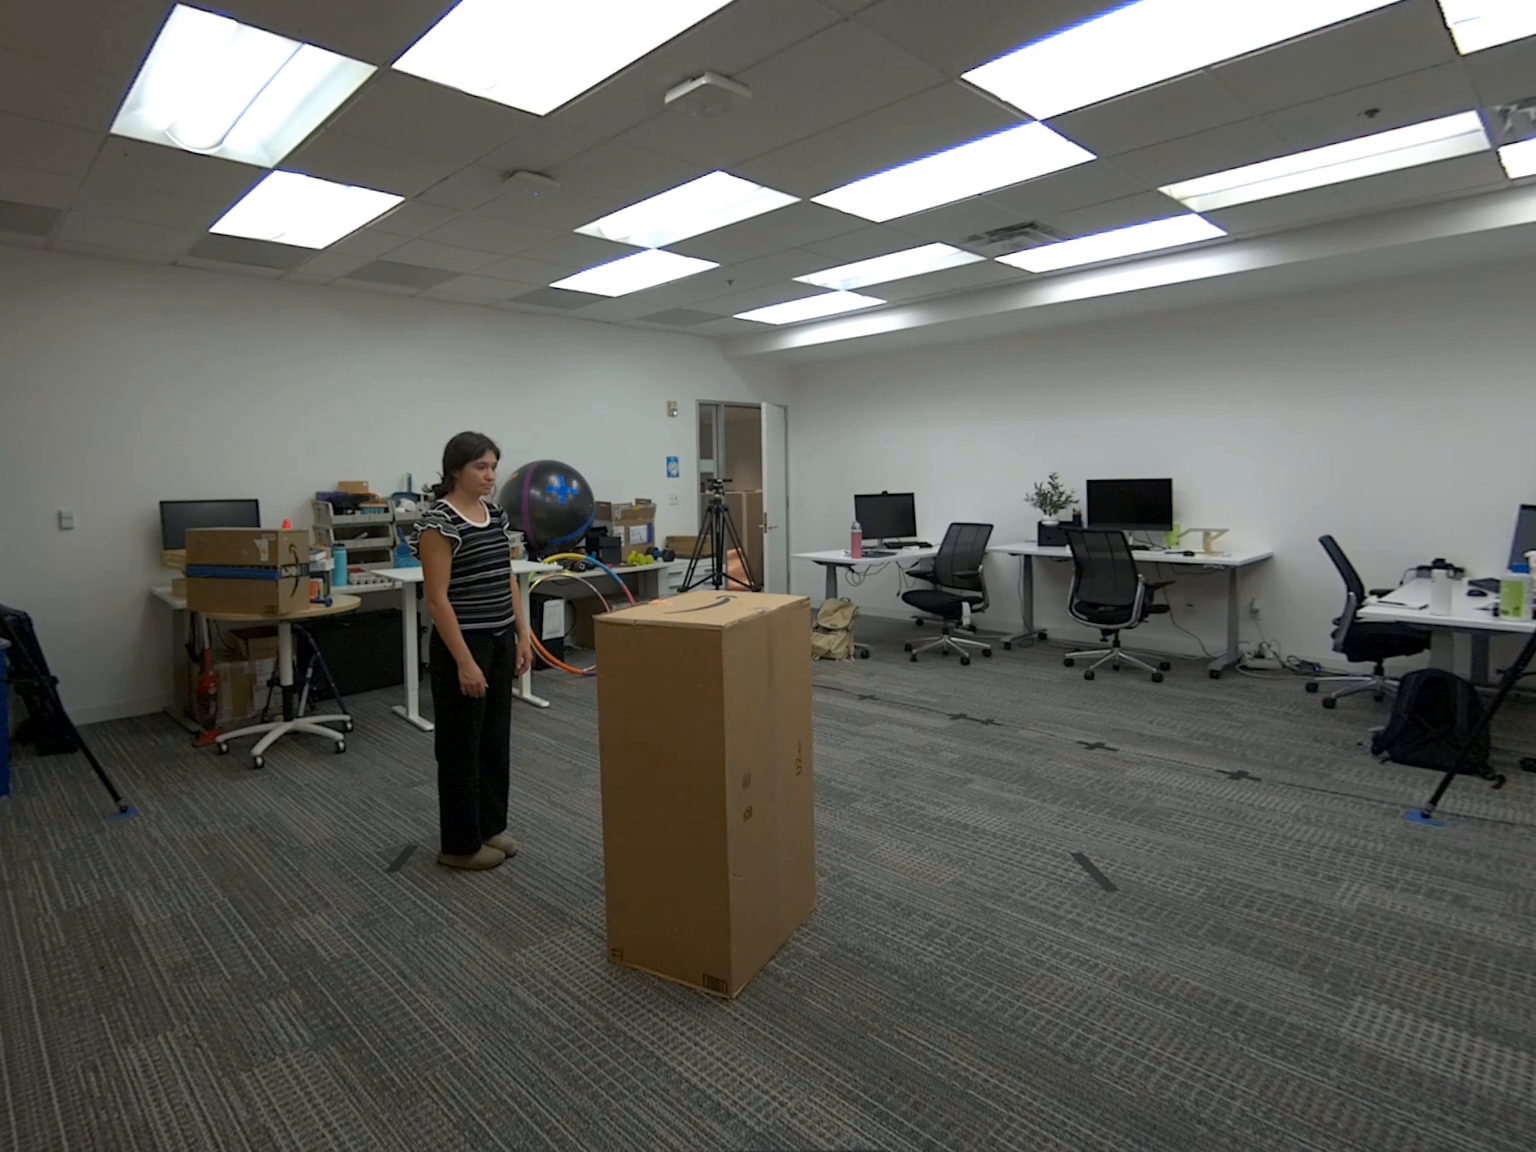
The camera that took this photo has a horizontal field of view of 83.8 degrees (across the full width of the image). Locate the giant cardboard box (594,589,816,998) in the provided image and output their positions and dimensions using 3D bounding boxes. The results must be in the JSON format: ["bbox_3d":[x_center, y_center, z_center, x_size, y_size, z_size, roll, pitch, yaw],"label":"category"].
[{"bbox_3d":[-0.171,0.598,2.598,0.437,1.022,0.565,1,5,29],"label":"giant cardboard box"}]
